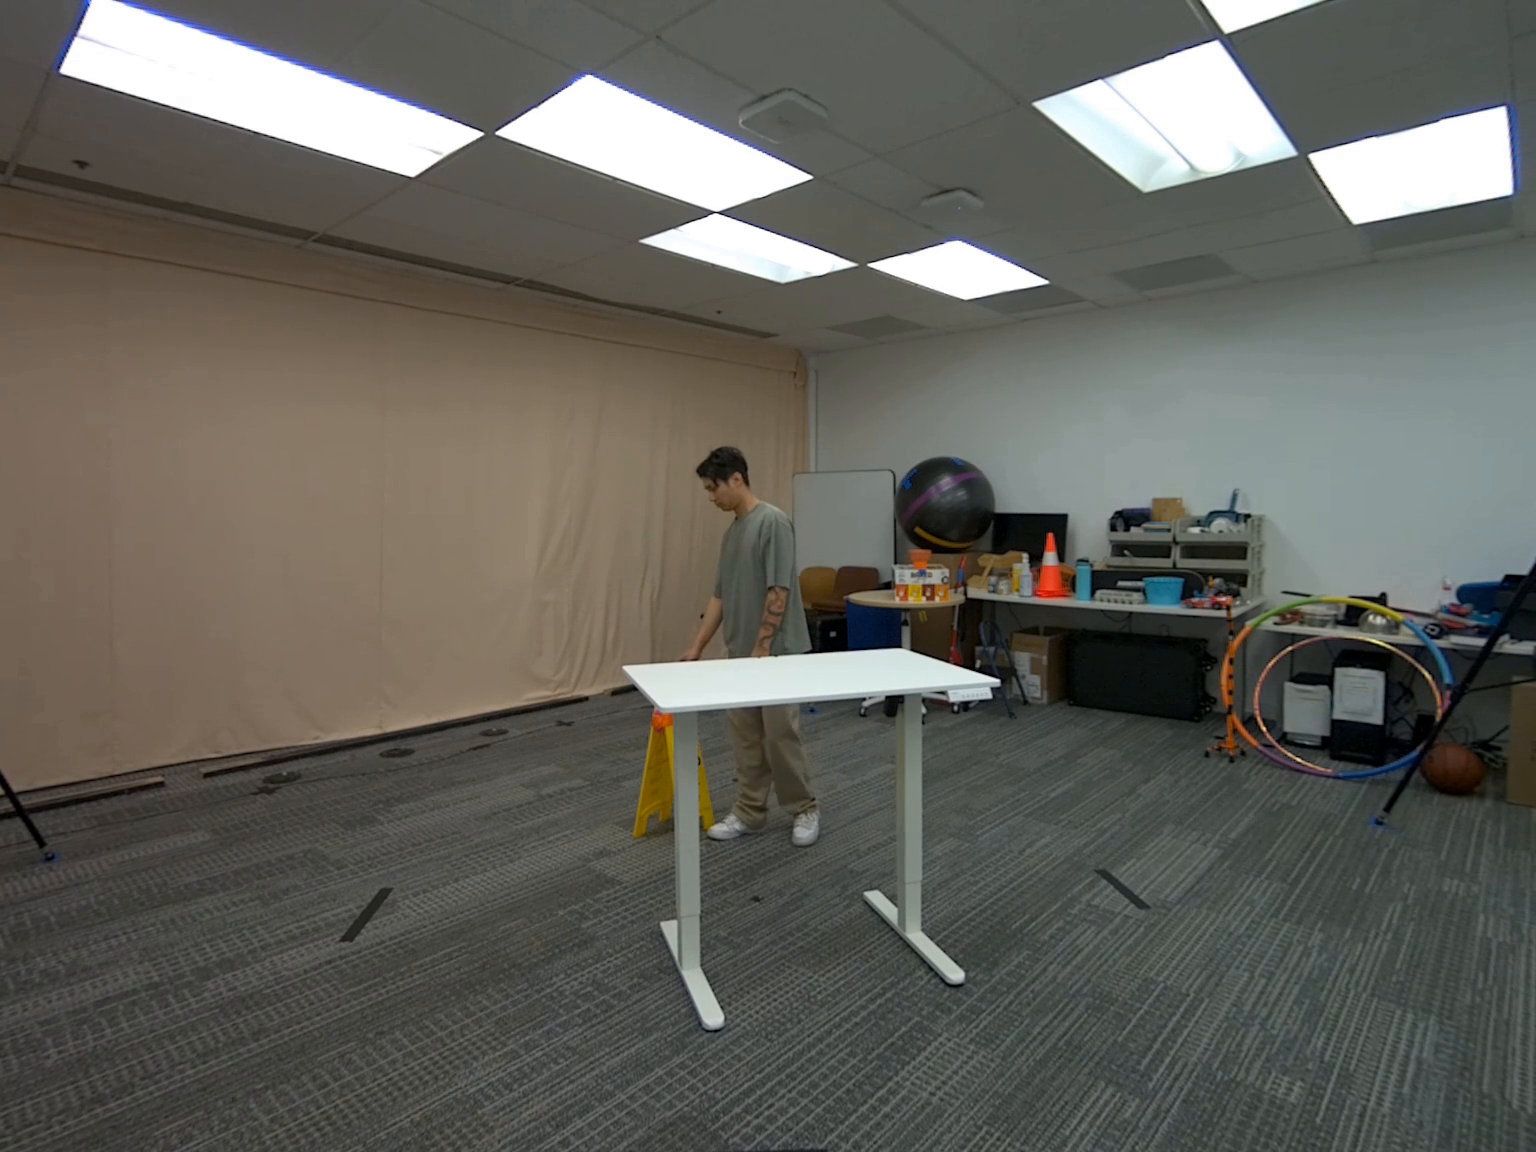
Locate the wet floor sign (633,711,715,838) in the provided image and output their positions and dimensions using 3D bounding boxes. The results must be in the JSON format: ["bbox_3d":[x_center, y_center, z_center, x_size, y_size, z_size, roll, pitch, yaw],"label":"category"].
[{"bbox_3d":[-0.397,0.778,3.587,0.297,0.645,0.275,0,2,27],"label":"wet floor sign"}]
